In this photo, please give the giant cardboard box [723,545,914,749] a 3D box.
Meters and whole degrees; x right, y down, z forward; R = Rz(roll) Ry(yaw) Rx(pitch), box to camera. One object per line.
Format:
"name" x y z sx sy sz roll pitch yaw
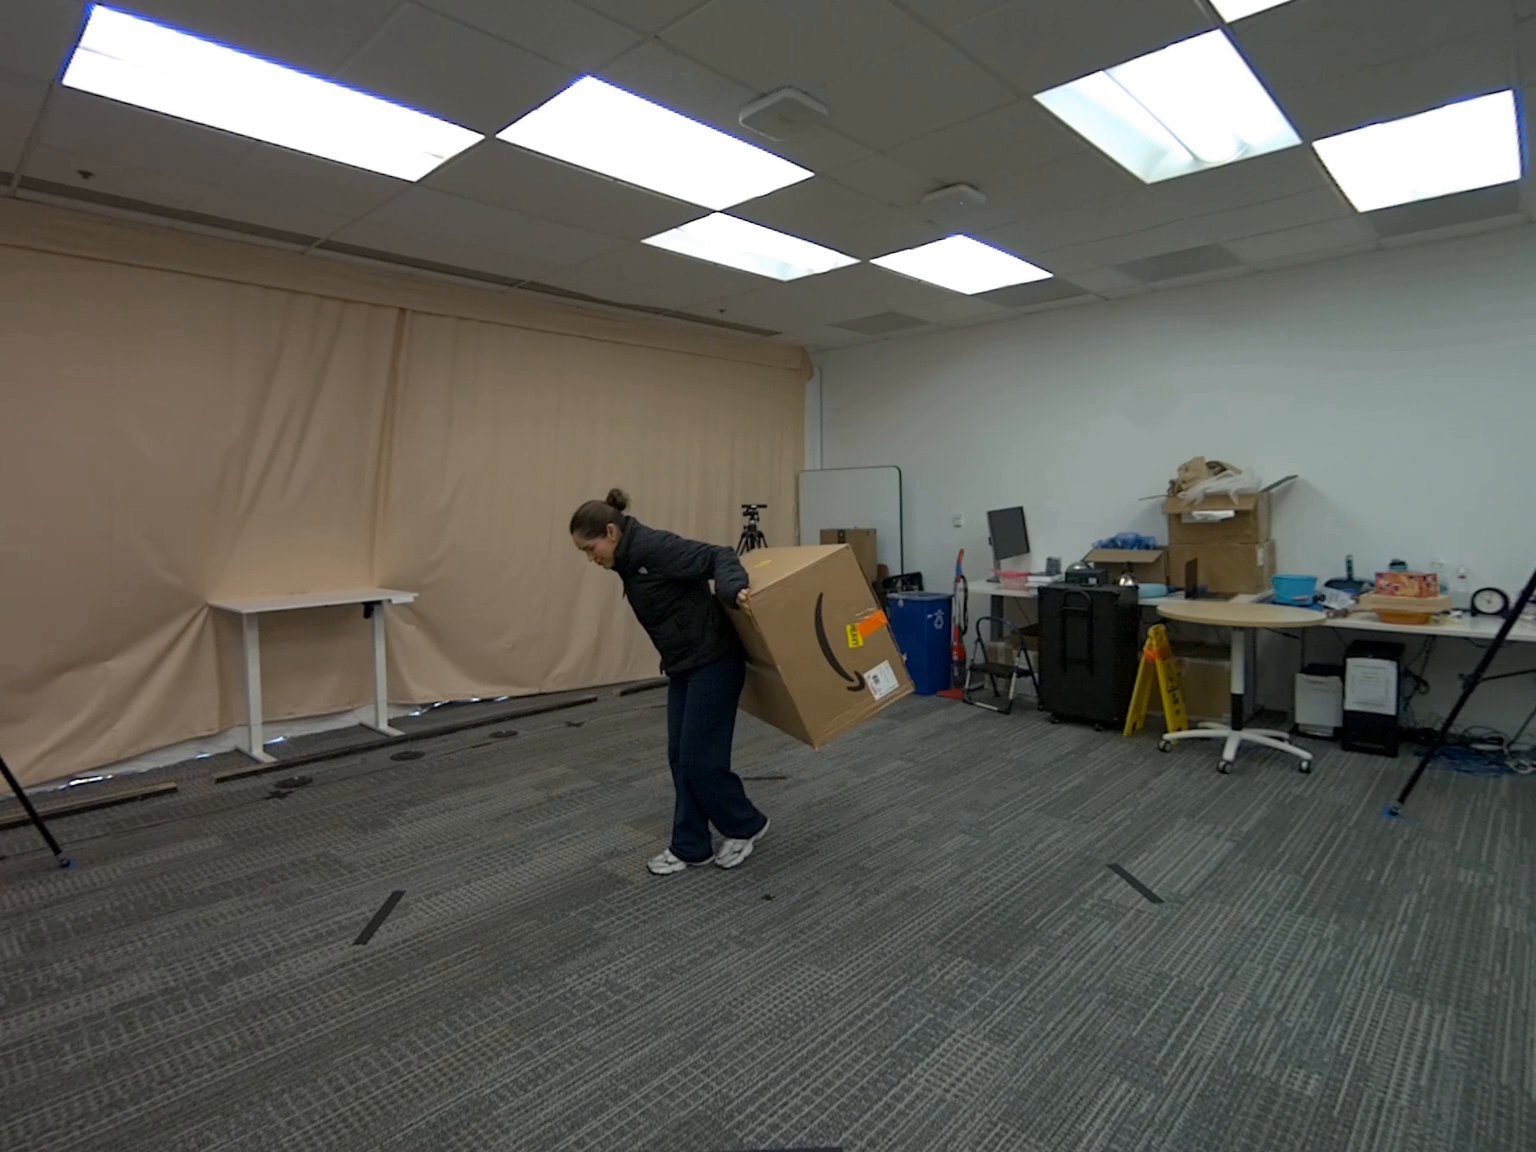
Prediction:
"giant cardboard box" 0.067 0.233 3.347 0.421 0.573 1.045 -27 9 -18
